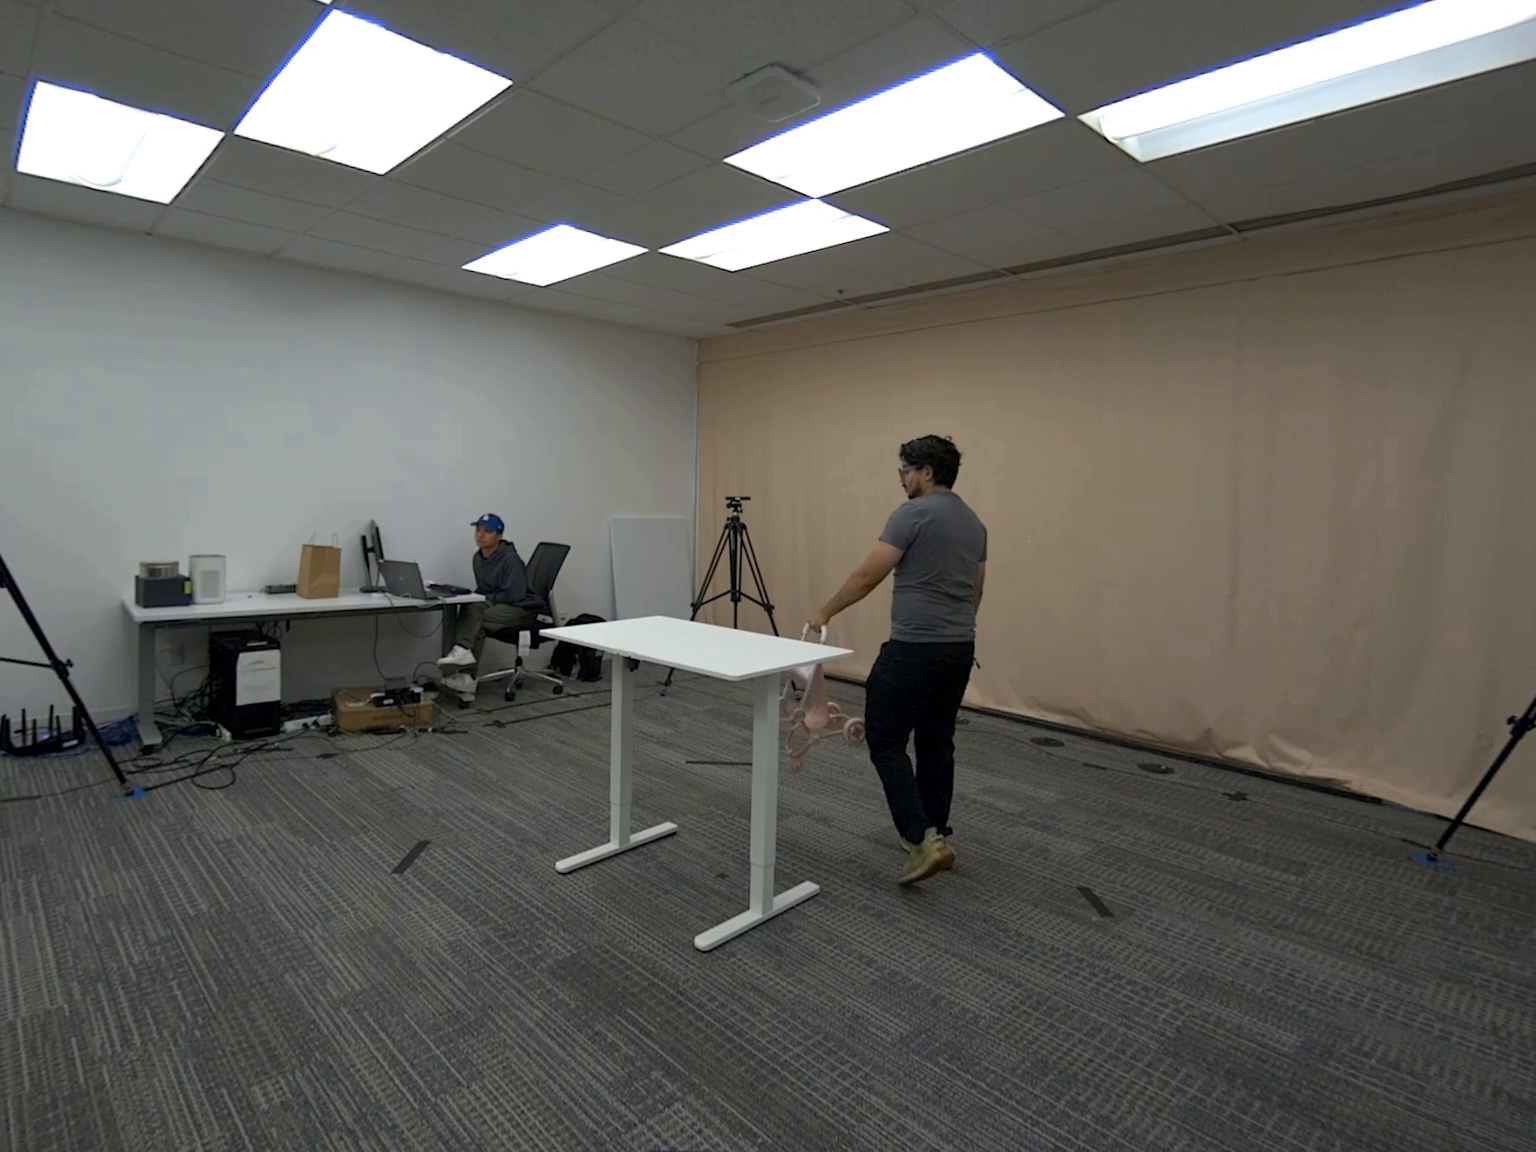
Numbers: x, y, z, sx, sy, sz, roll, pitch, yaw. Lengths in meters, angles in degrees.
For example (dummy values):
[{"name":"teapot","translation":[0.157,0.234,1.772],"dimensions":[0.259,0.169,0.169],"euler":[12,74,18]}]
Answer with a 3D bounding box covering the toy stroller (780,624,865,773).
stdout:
[{"name":"toy stroller","translation":[0.145,0.491,3.349],"dimensions":[0.340,0.529,0.286],"euler":[-22,11,-10]}]
